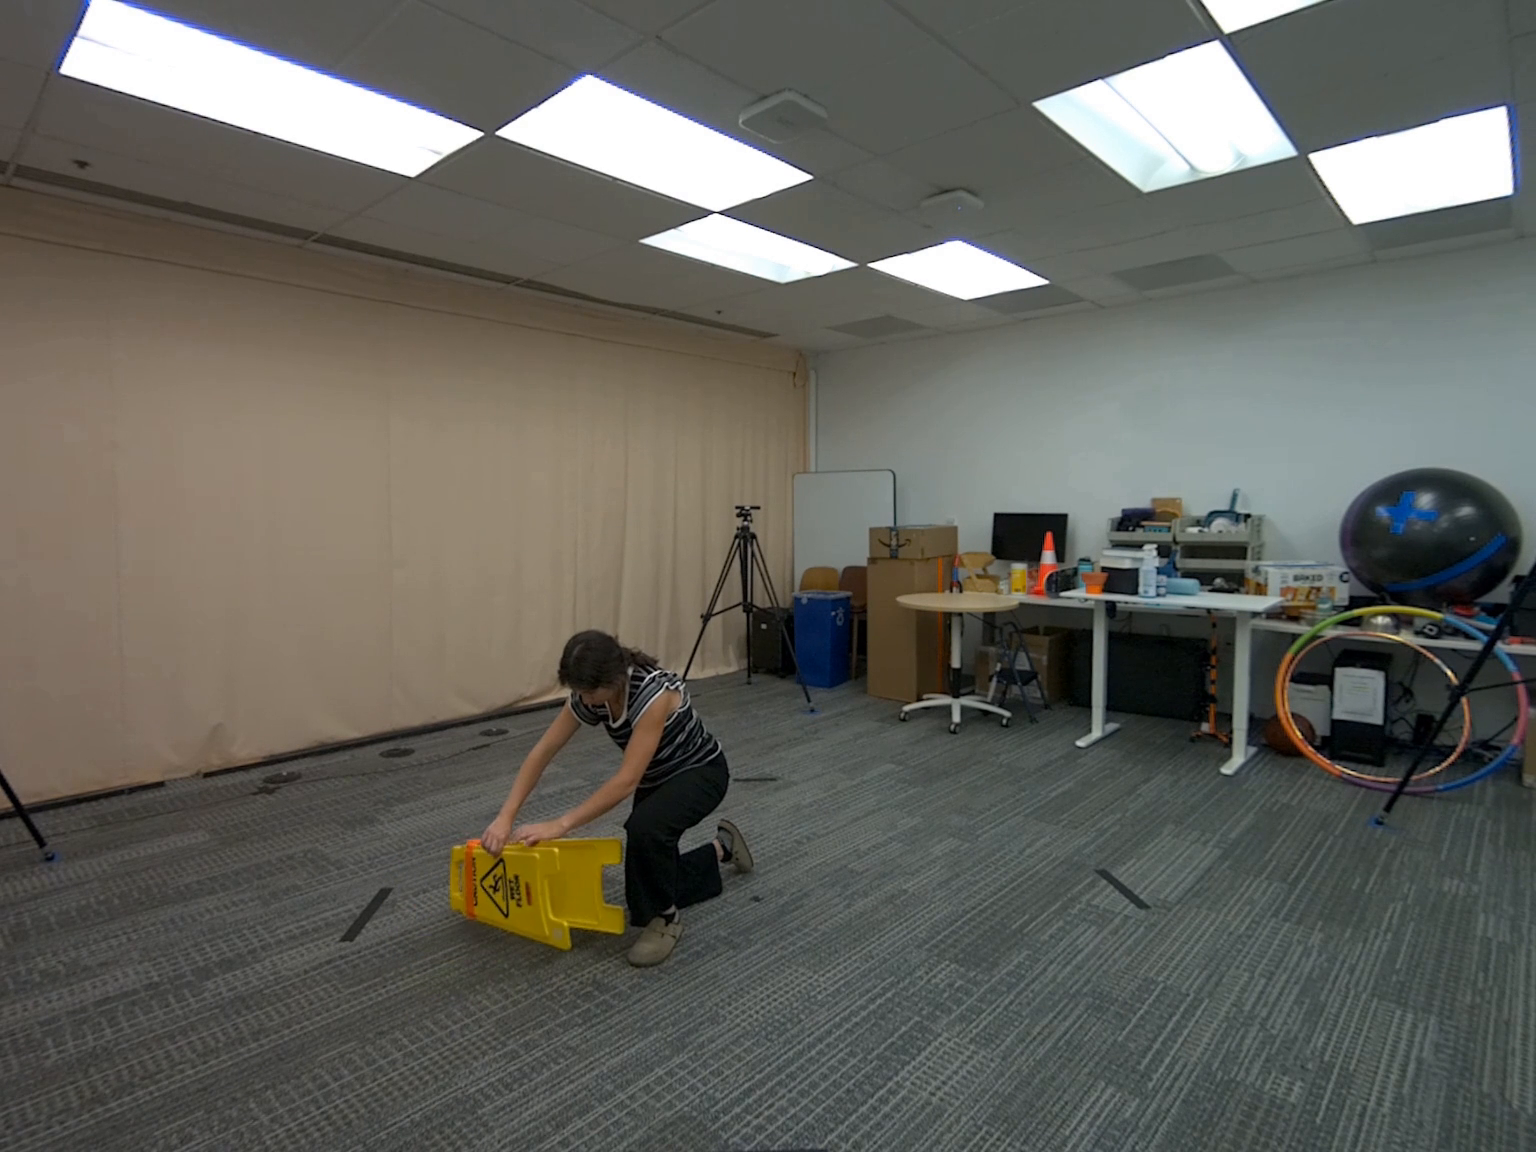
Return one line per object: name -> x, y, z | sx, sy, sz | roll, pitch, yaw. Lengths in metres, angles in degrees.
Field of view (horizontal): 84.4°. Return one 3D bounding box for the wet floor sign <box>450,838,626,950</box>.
wet floor sign -> -0.786, 0.972, 2.655 | 0.663, 0.284, 0.280 | -9, -10, 31
